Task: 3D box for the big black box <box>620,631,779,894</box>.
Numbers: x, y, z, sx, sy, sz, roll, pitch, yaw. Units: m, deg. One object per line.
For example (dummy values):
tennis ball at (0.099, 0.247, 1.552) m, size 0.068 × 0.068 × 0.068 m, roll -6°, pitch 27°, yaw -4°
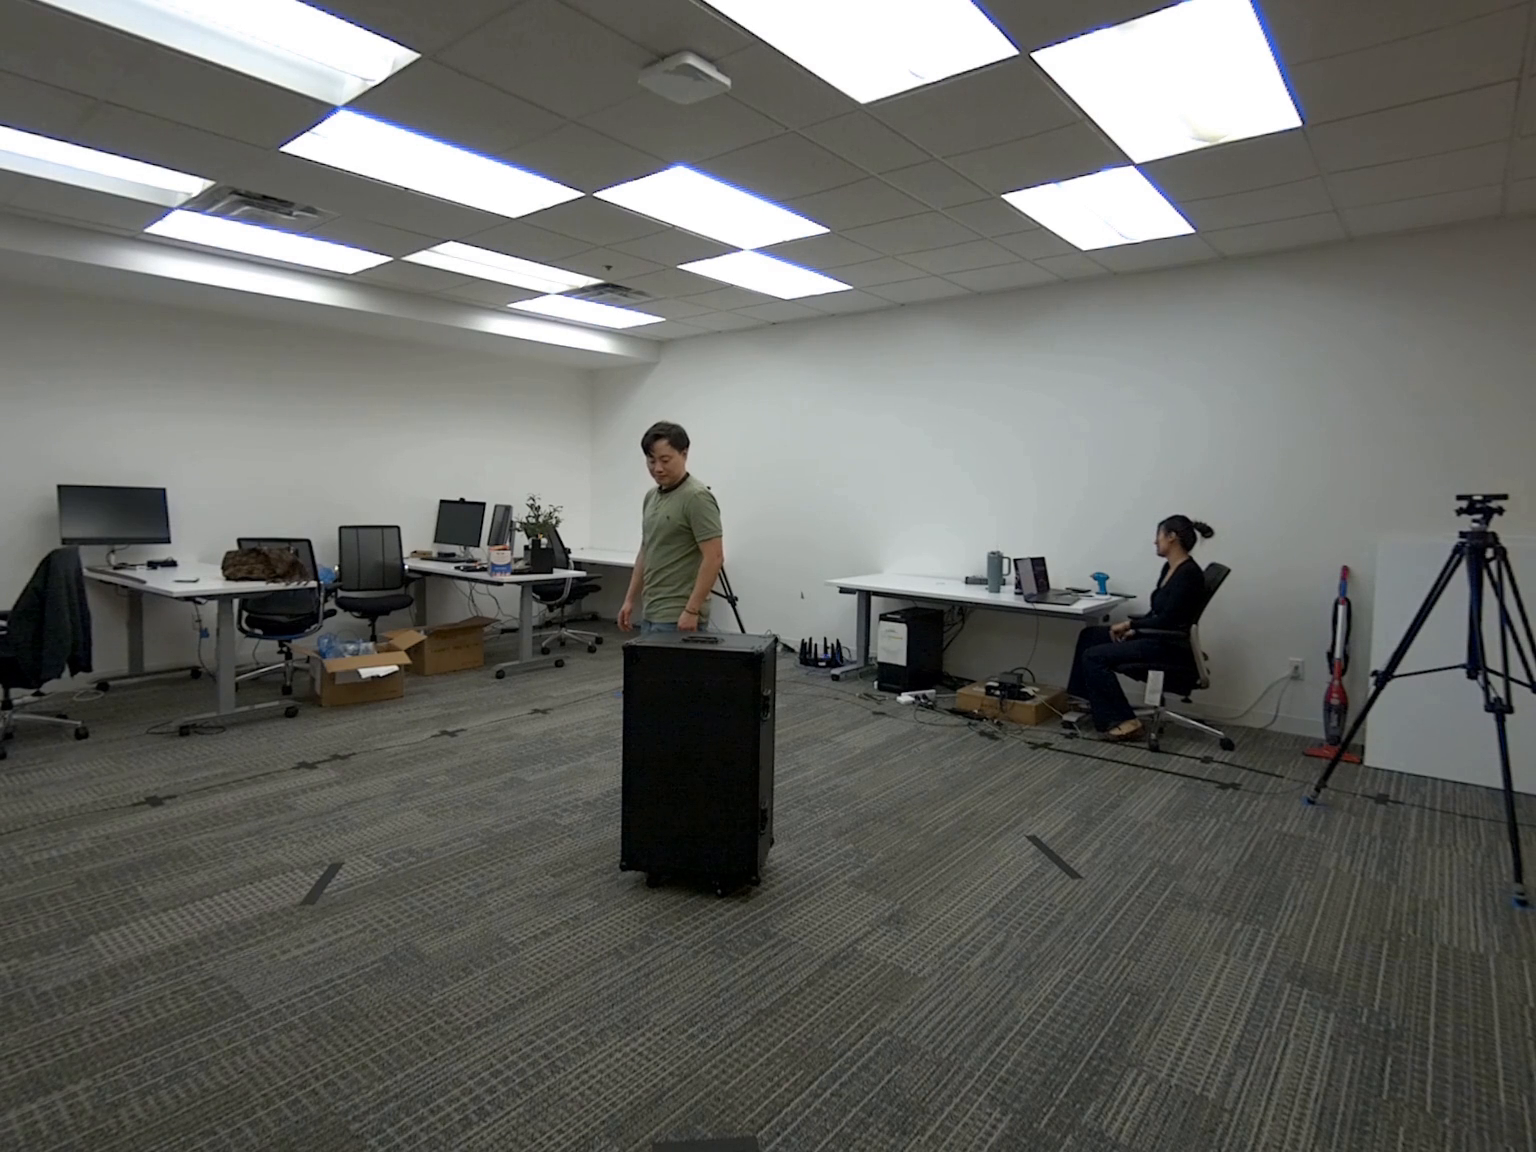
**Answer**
big black box at (-0.247, 0.647, 3.036) m, size 0.528 × 0.859 × 0.392 m, roll 1°, pitch 3°, yaw 12°
